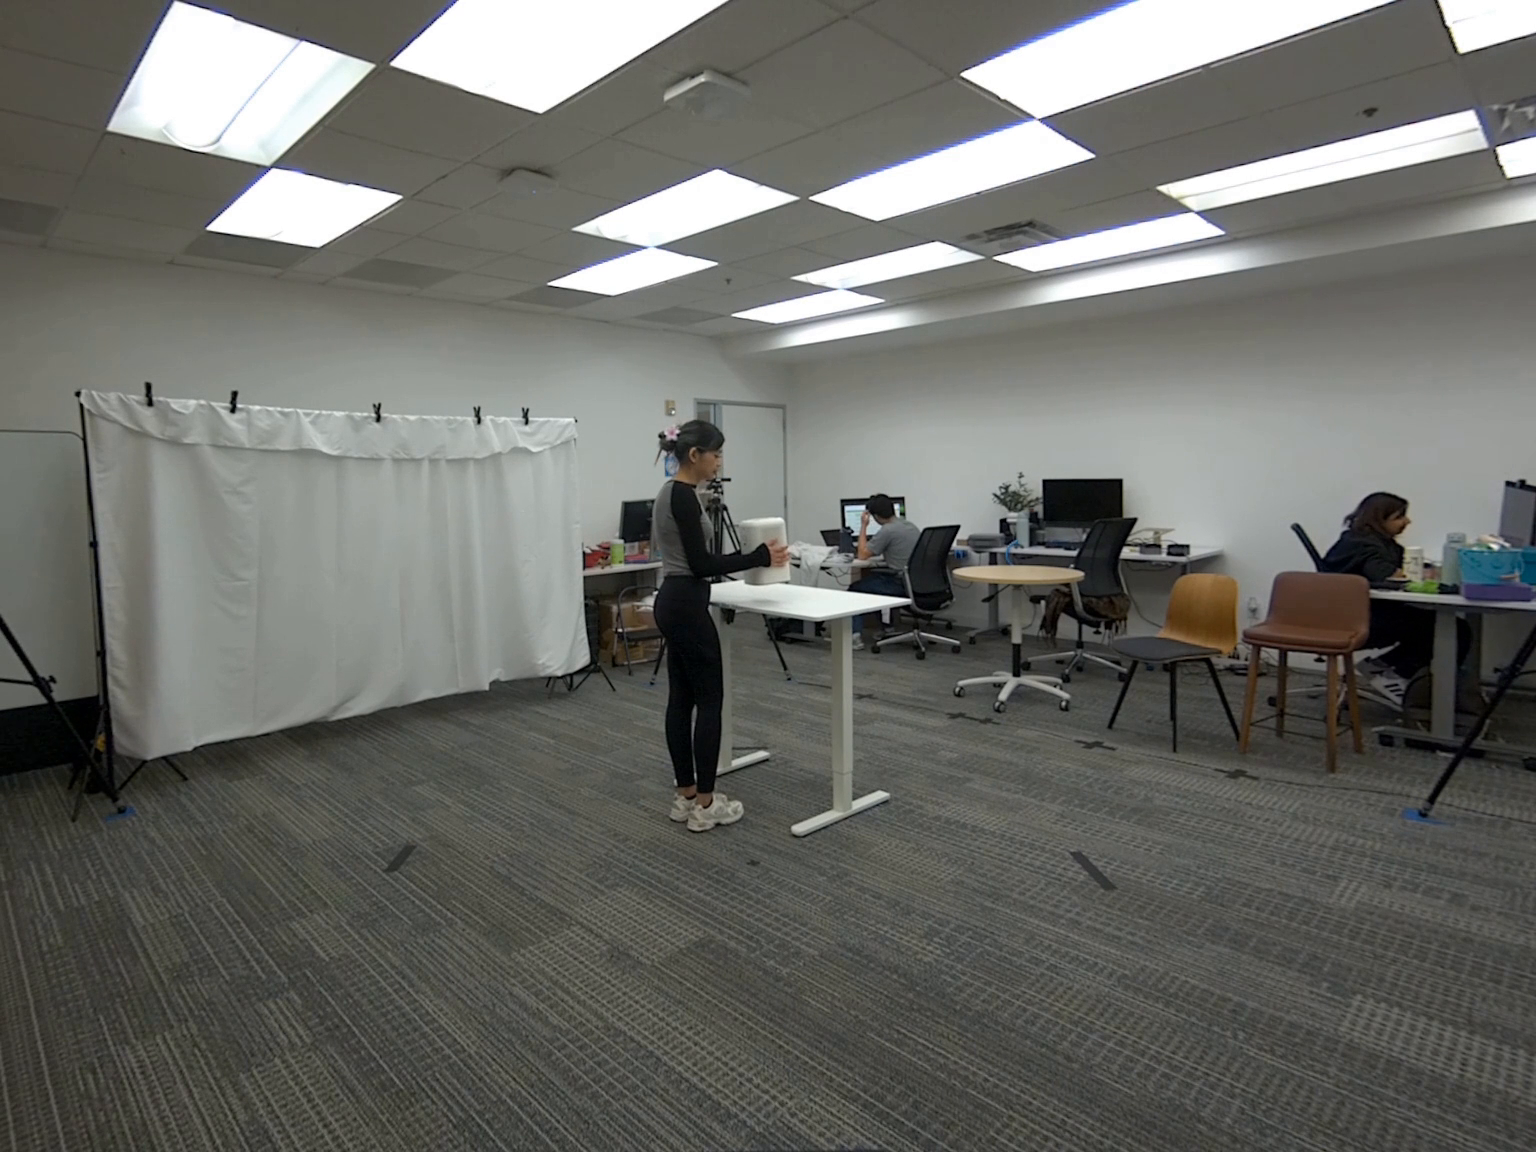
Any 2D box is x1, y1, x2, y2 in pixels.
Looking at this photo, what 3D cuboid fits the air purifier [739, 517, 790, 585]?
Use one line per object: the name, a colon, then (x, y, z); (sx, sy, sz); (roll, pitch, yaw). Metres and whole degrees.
air purifier: (-0.019, -0.106, 3.547); (0.168, 0.264, 0.175); (-7, 5, -22)
